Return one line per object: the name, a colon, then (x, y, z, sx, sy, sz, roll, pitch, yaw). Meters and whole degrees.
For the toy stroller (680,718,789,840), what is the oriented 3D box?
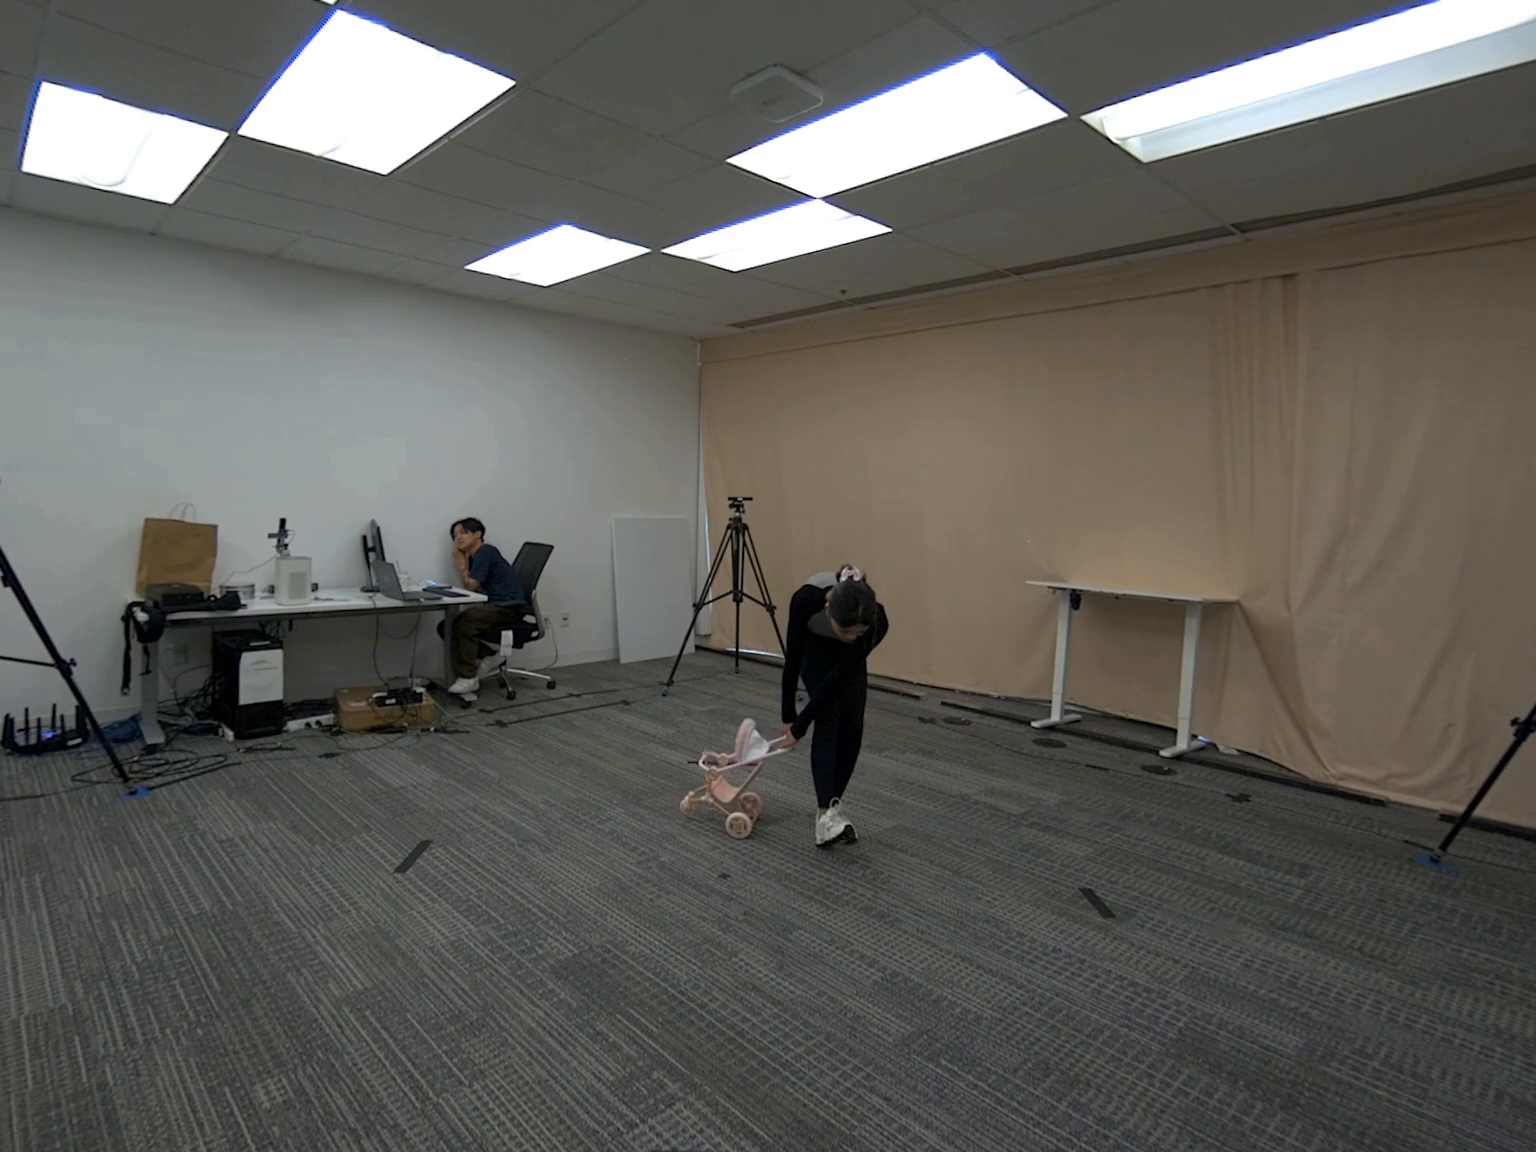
toy stroller: (-0.141, 0.835, 3.575, 0.346, 0.533, 0.278, 25, 9, 14)
